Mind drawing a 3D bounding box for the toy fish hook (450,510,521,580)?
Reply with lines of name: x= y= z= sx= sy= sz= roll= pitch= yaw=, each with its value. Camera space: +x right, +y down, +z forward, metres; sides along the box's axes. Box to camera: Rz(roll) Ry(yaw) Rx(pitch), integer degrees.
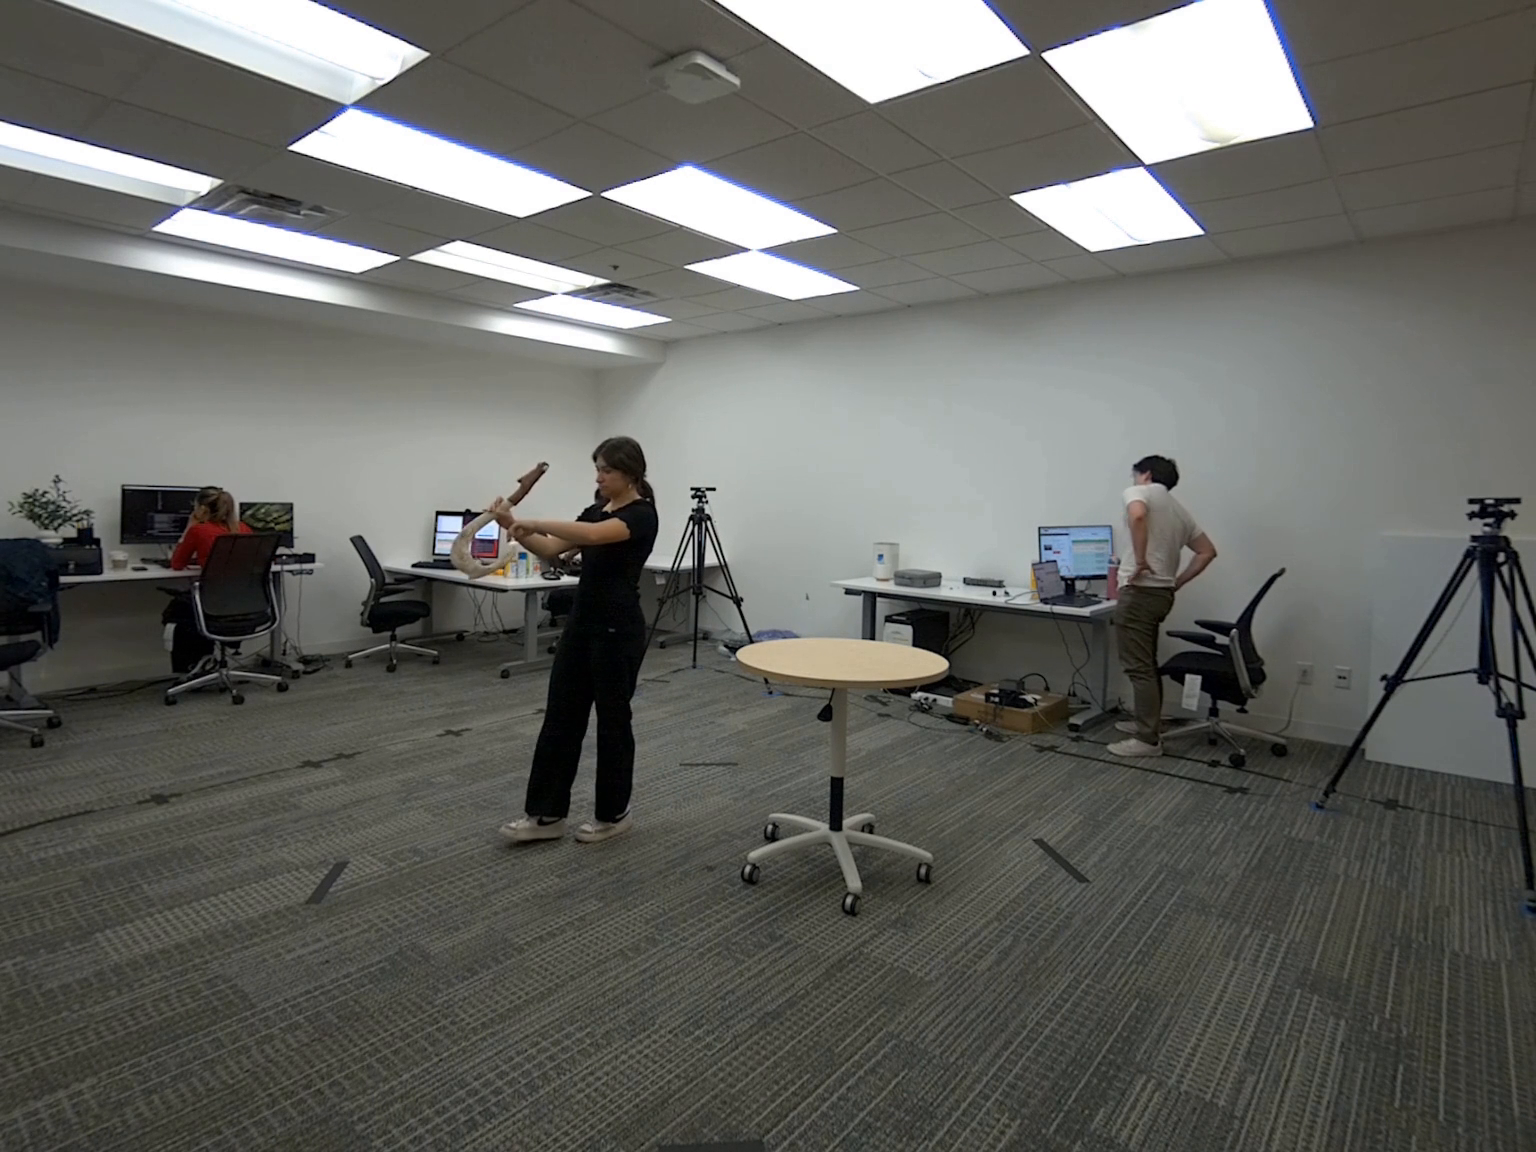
toy fish hook: x=-0.967 y=-0.201 z=3.118 sx=0.227 sy=0.507 sz=0.047 roll=38 pitch=-12 yaw=9
